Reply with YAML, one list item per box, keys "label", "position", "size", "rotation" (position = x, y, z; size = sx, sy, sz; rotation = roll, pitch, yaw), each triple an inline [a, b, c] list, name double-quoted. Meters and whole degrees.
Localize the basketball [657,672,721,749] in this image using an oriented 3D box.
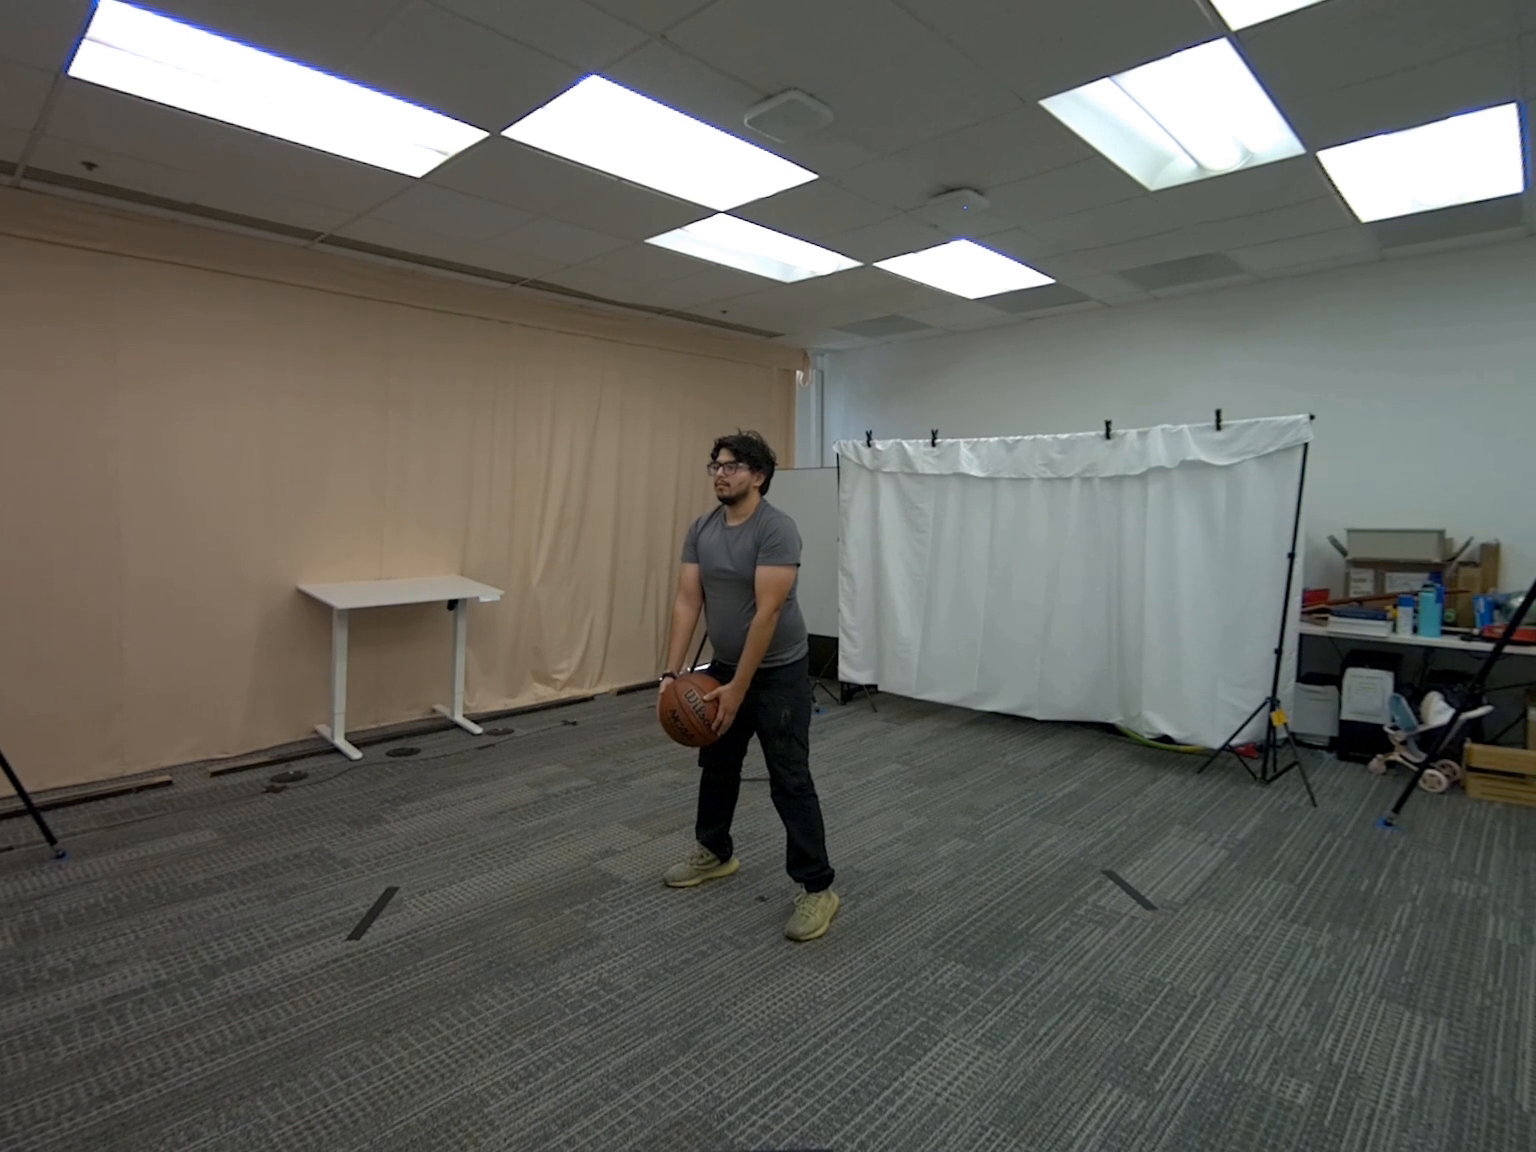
- label: "basketball"
  position: [-0.236, 0.437, 2.758]
  size: [0.236, 0.235, 0.237]
  rotation: [0, 4, -2]
